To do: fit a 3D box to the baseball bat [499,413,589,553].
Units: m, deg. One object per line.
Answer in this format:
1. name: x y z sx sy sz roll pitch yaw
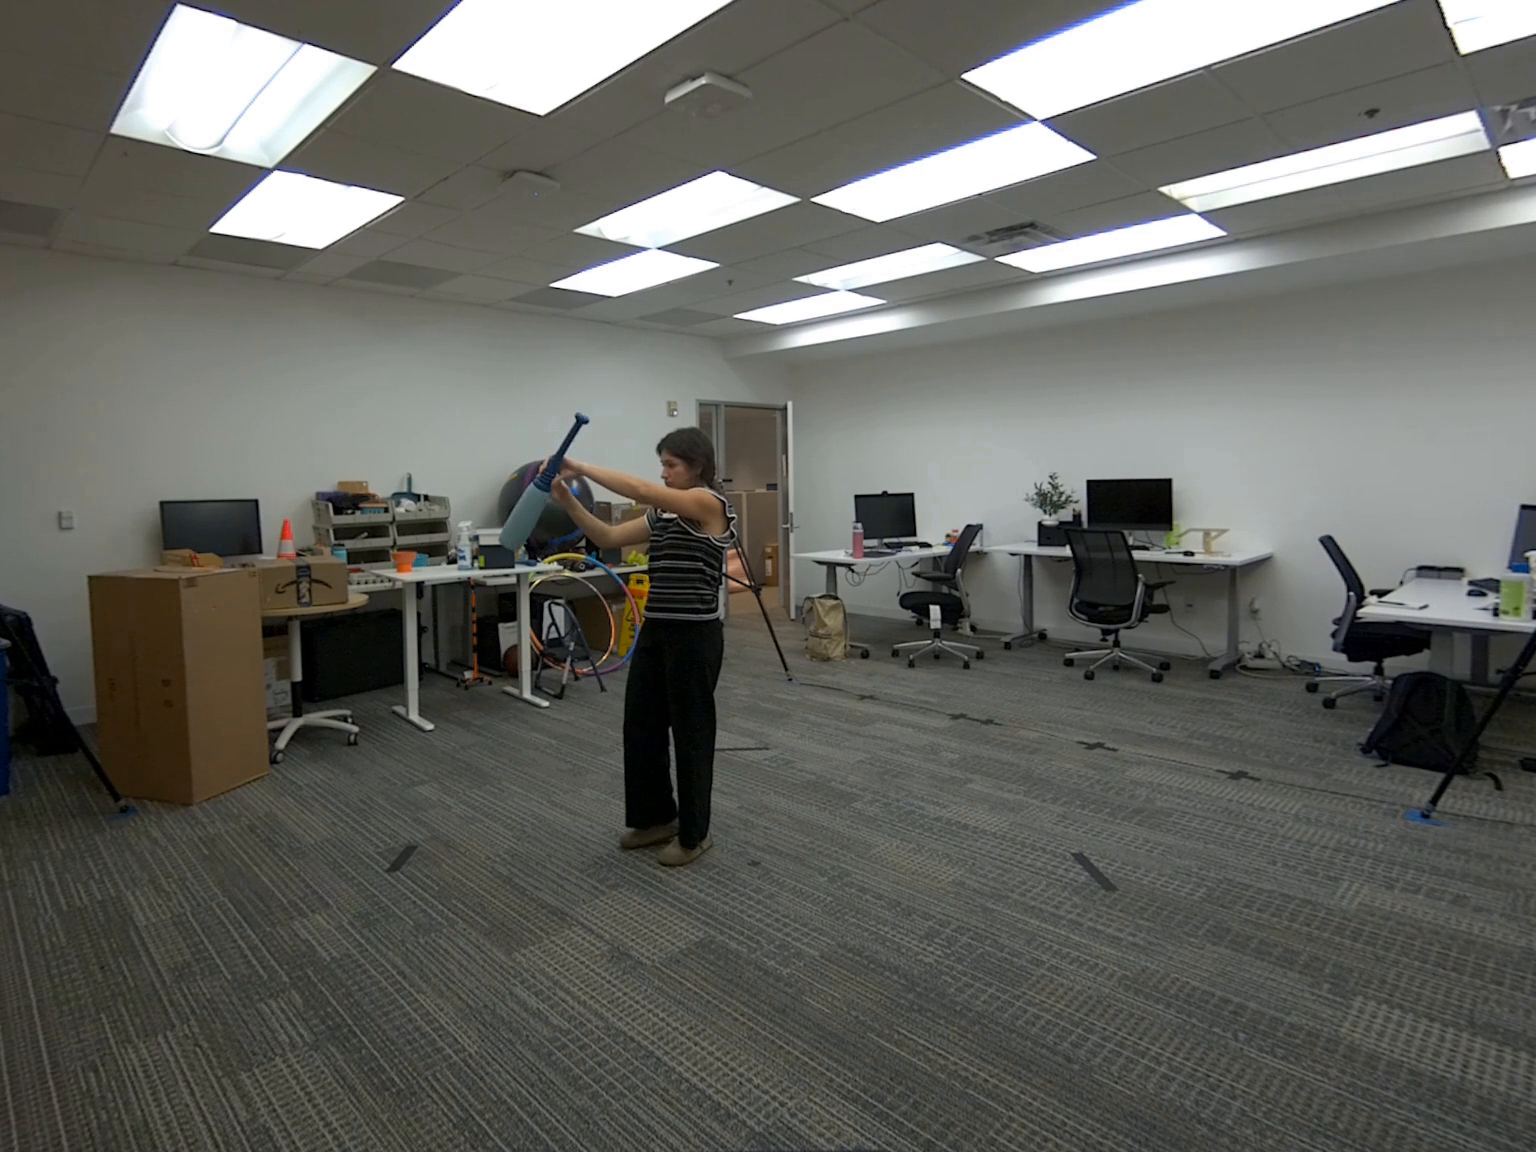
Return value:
1. baseball bat: -0.751 -0.326 2.880 0.088 0.541 0.091 30 18 -13
